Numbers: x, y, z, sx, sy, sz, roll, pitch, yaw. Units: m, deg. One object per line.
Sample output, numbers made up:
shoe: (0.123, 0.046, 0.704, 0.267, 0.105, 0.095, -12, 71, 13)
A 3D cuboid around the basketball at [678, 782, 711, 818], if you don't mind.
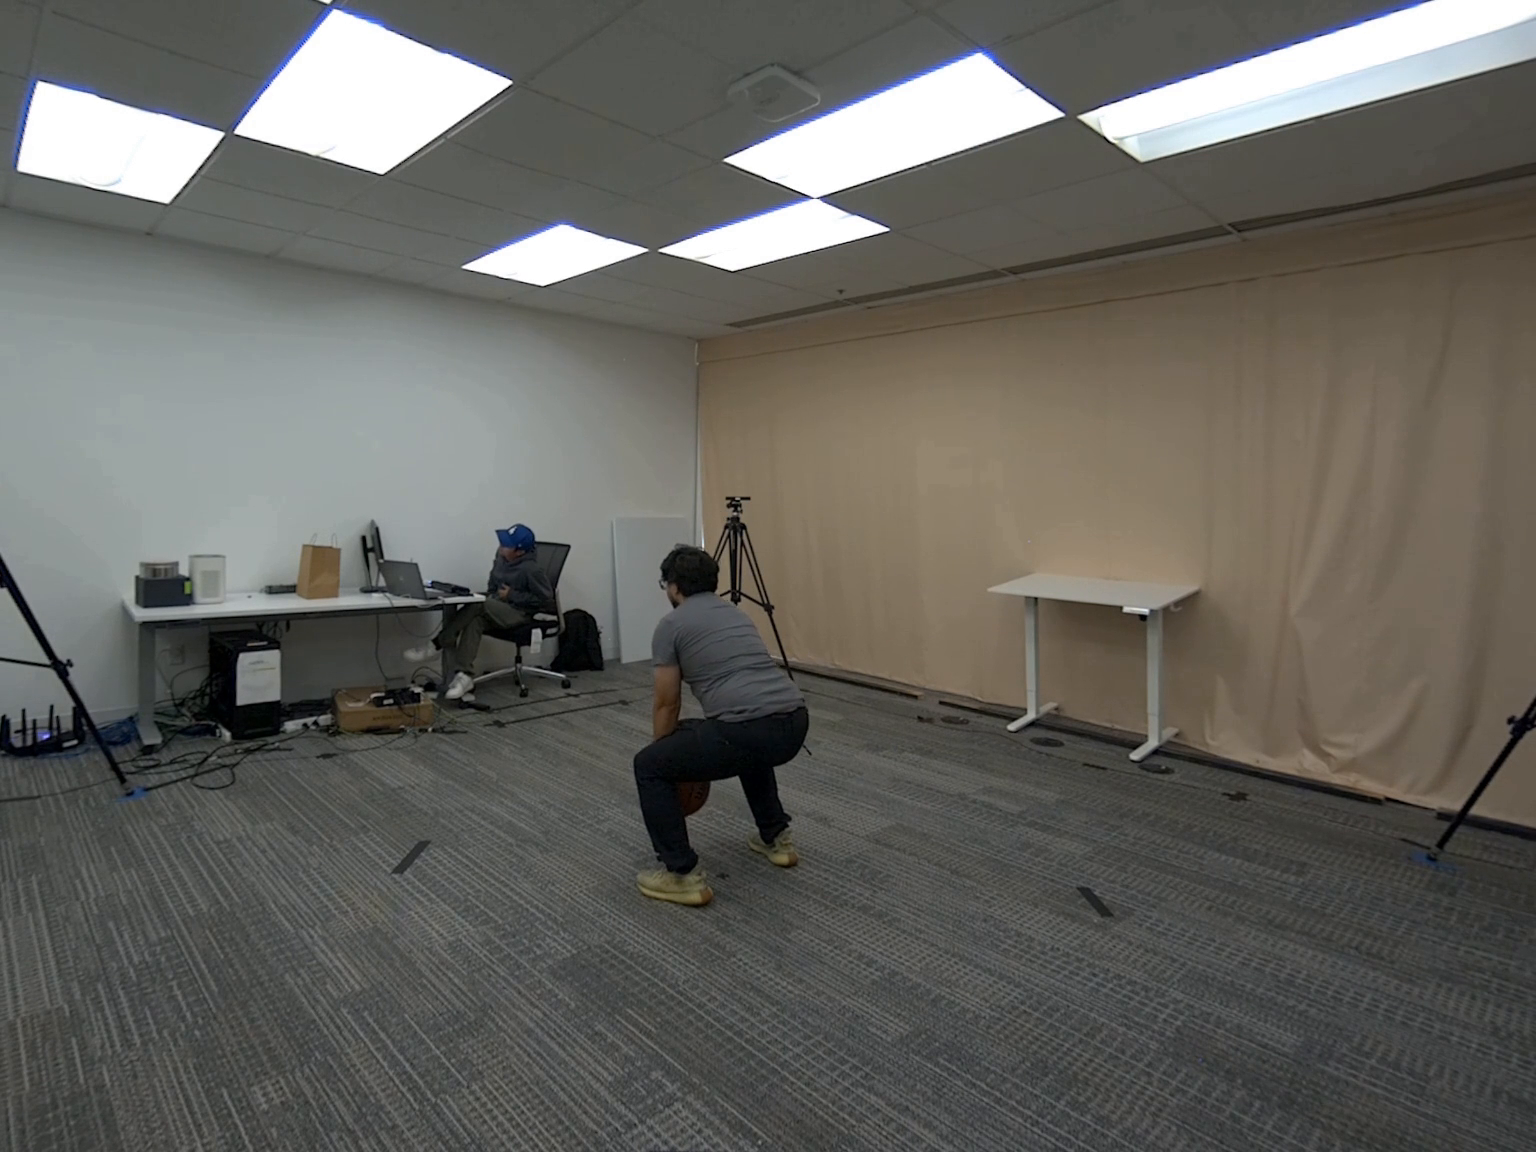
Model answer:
basketball: (-0.346, 0.813, 3.283, 0.236, 0.235, 0.237, 1, 4, -1)
